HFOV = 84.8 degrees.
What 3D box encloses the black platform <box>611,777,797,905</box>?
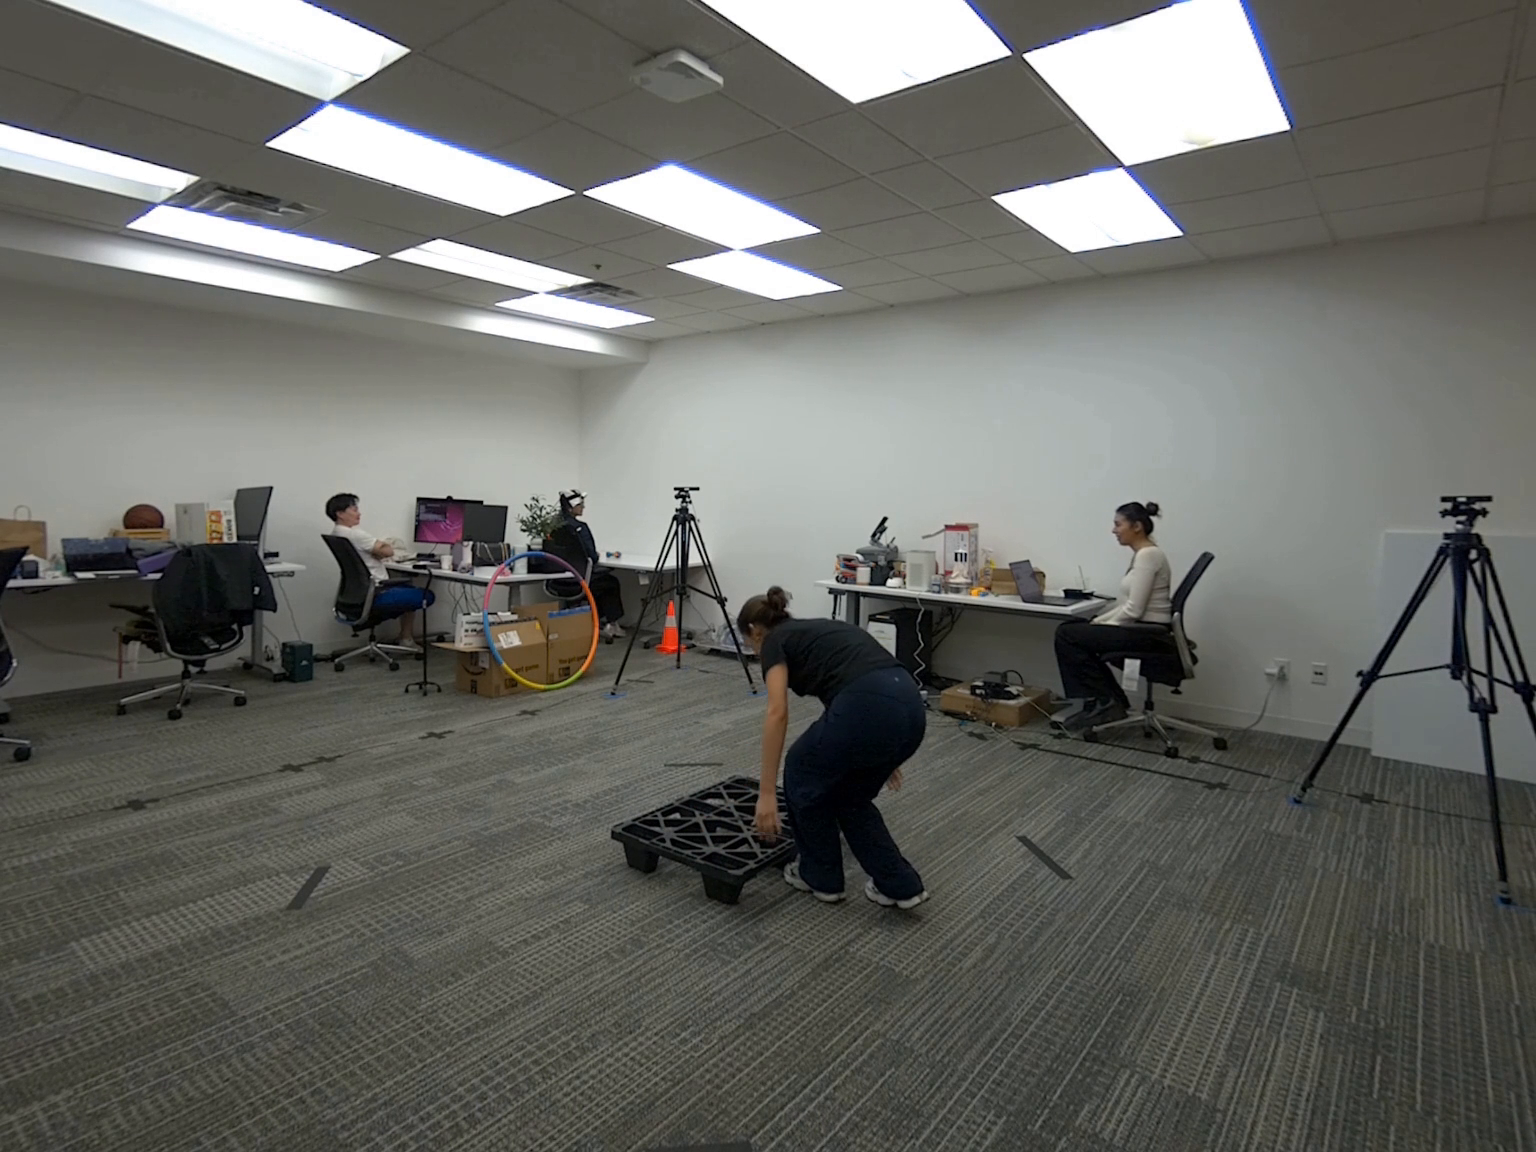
[{"bbox_3d":[-0.098,0.985,3.270,0.625,0.143,0.783,5,7,36],"label":"black platform"}]
